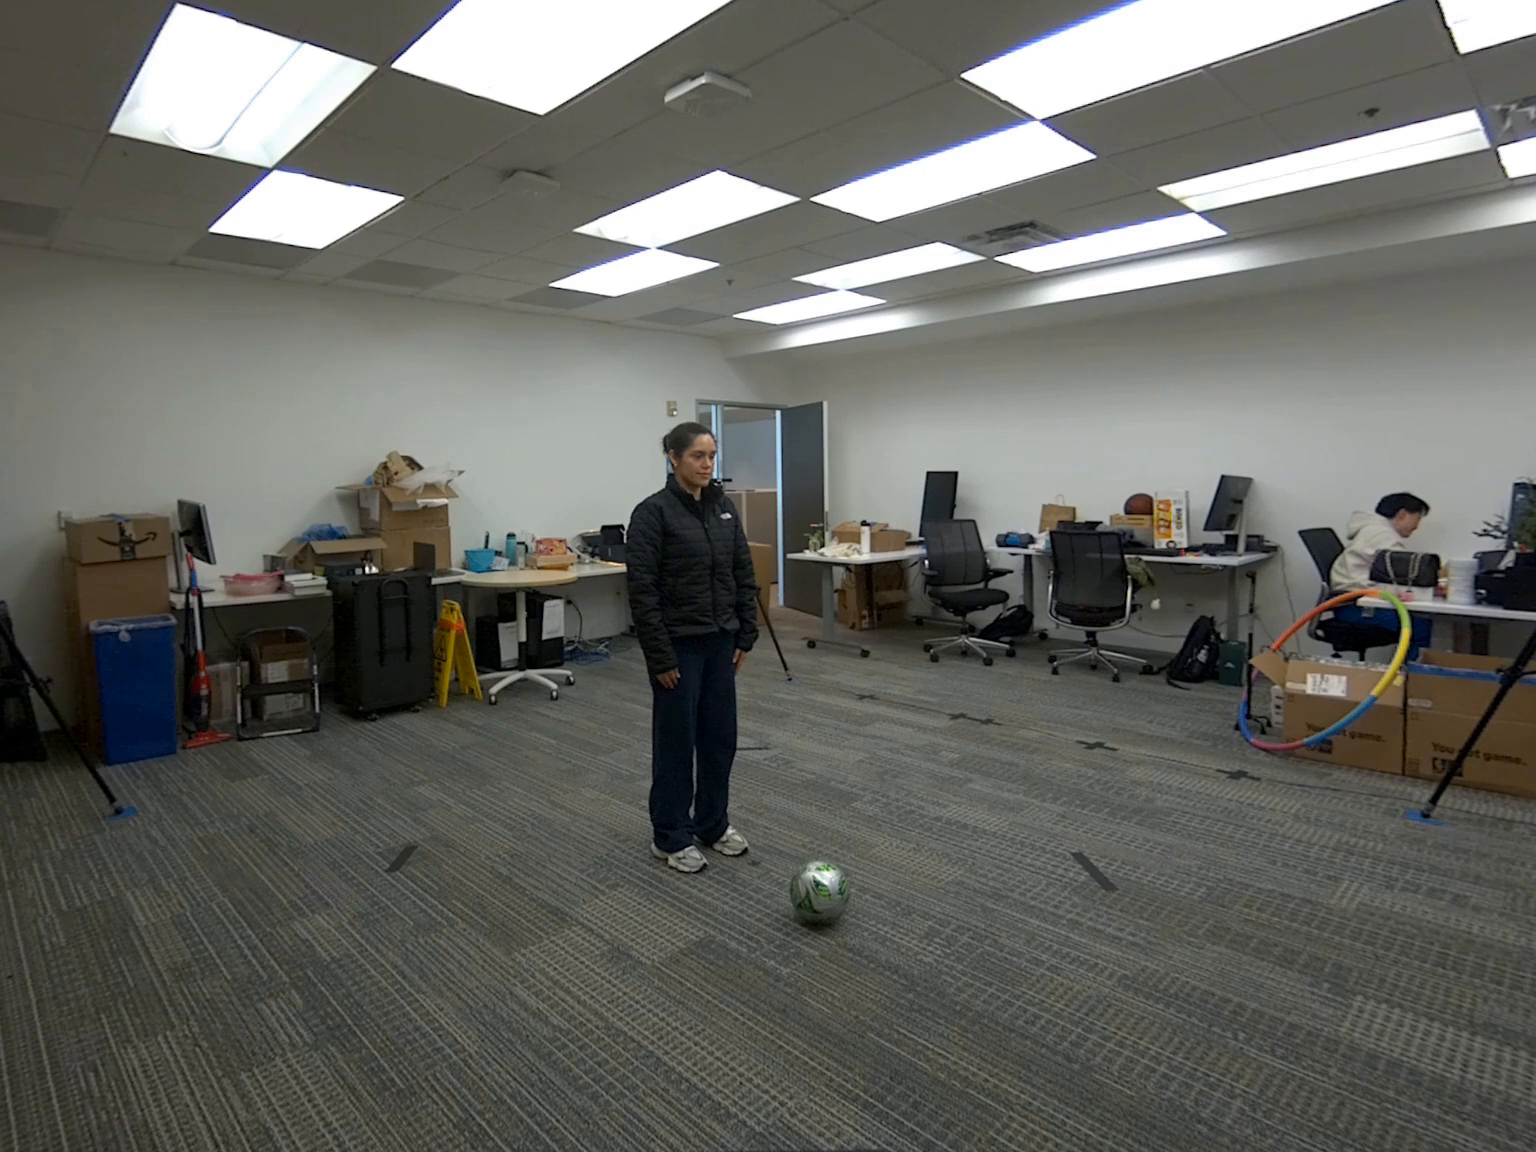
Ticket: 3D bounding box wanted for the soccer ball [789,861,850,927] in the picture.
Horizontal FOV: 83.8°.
[{"bbox_3d":[0.168,0.996,2.691,0.187,0.187,0.188,-1,5,-2],"label":"soccer ball"}]
